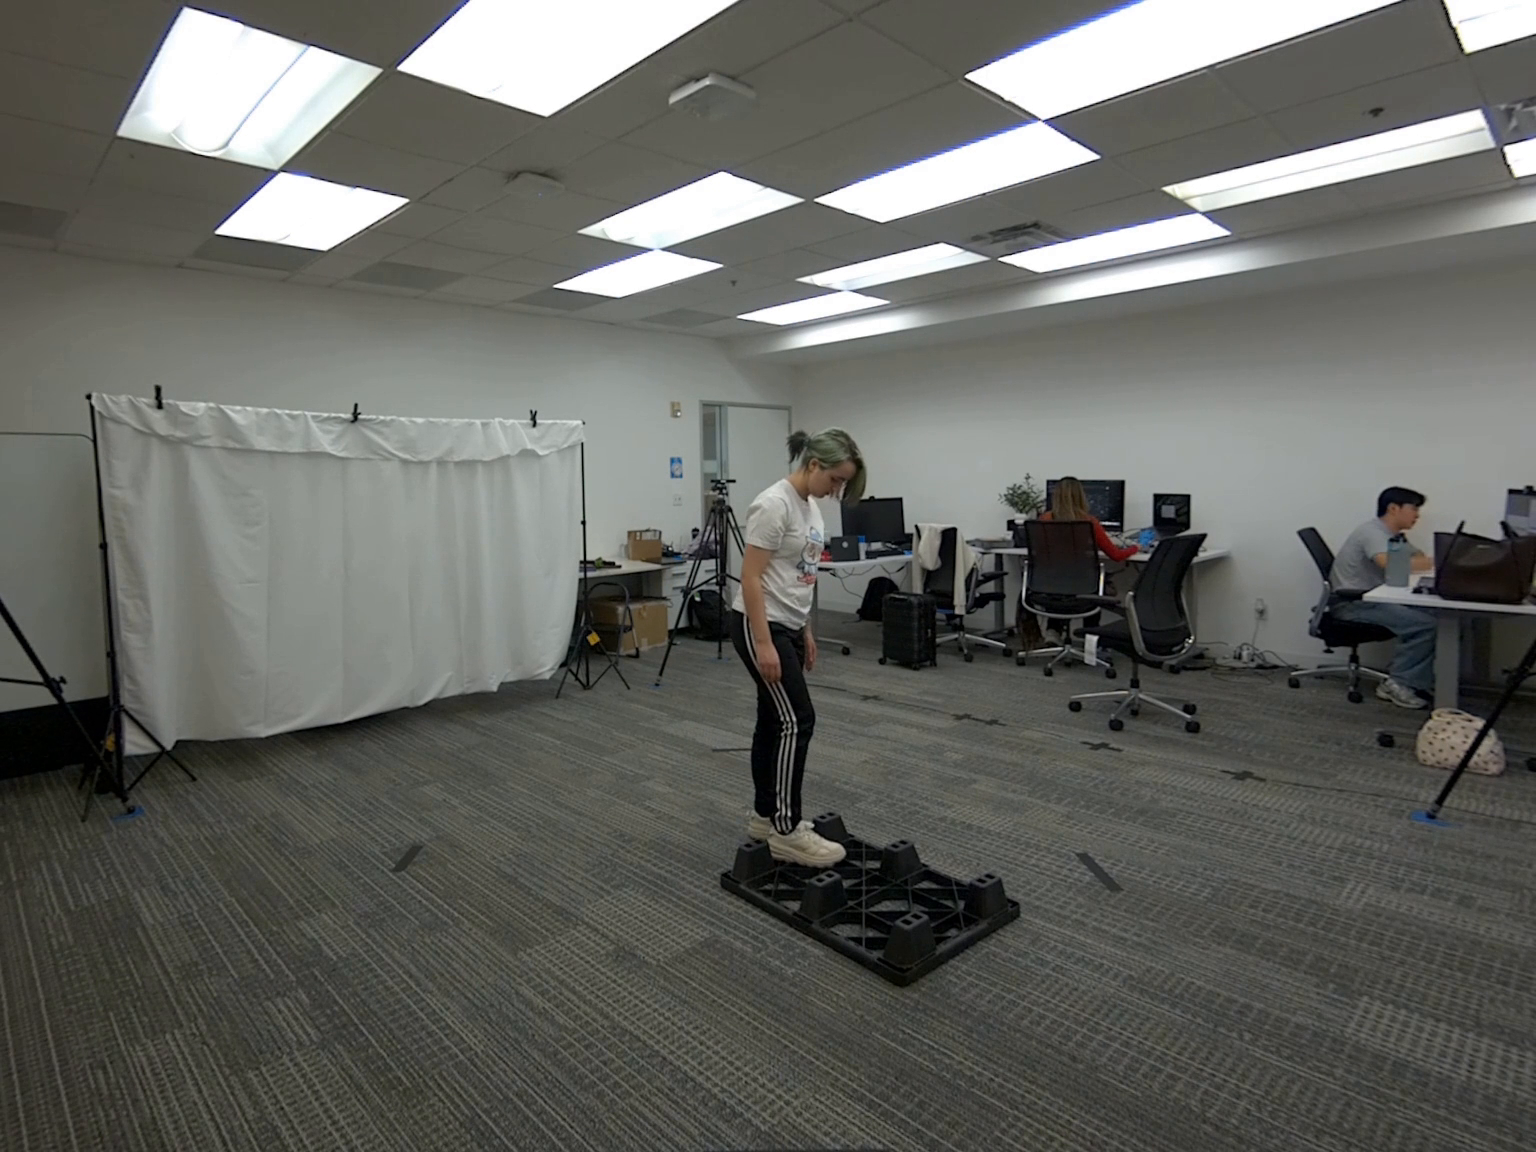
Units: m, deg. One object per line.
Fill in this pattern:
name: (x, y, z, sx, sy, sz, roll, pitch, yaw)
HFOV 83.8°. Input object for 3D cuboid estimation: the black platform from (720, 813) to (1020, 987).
black platform: (0.313, 1.008, 2.822, 0.589, 0.143, 0.830, -6, 8, -41)
